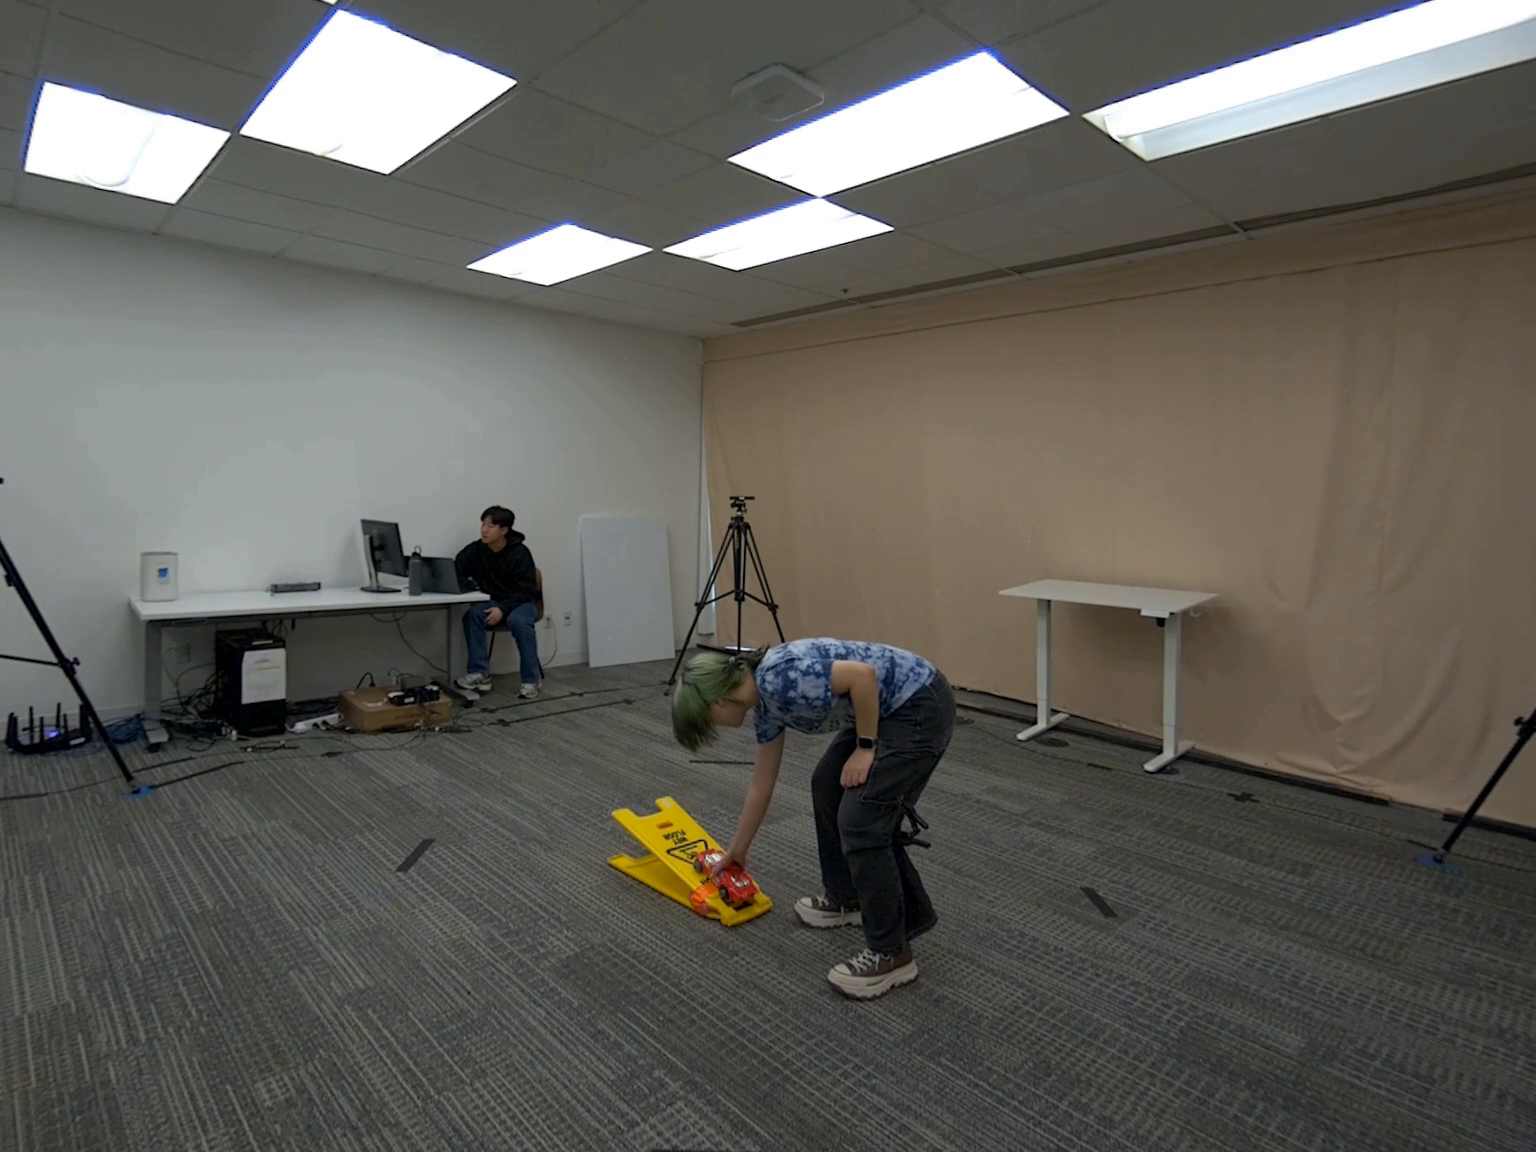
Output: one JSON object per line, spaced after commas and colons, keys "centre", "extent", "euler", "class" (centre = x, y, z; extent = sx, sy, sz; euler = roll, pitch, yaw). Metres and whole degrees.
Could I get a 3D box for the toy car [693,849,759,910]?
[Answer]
{"centre": [-0.148, 1.023, 2.858], "extent": [0.127, 0.082, 0.262], "euler": [-2, 15, -42], "class": "toy car"}
